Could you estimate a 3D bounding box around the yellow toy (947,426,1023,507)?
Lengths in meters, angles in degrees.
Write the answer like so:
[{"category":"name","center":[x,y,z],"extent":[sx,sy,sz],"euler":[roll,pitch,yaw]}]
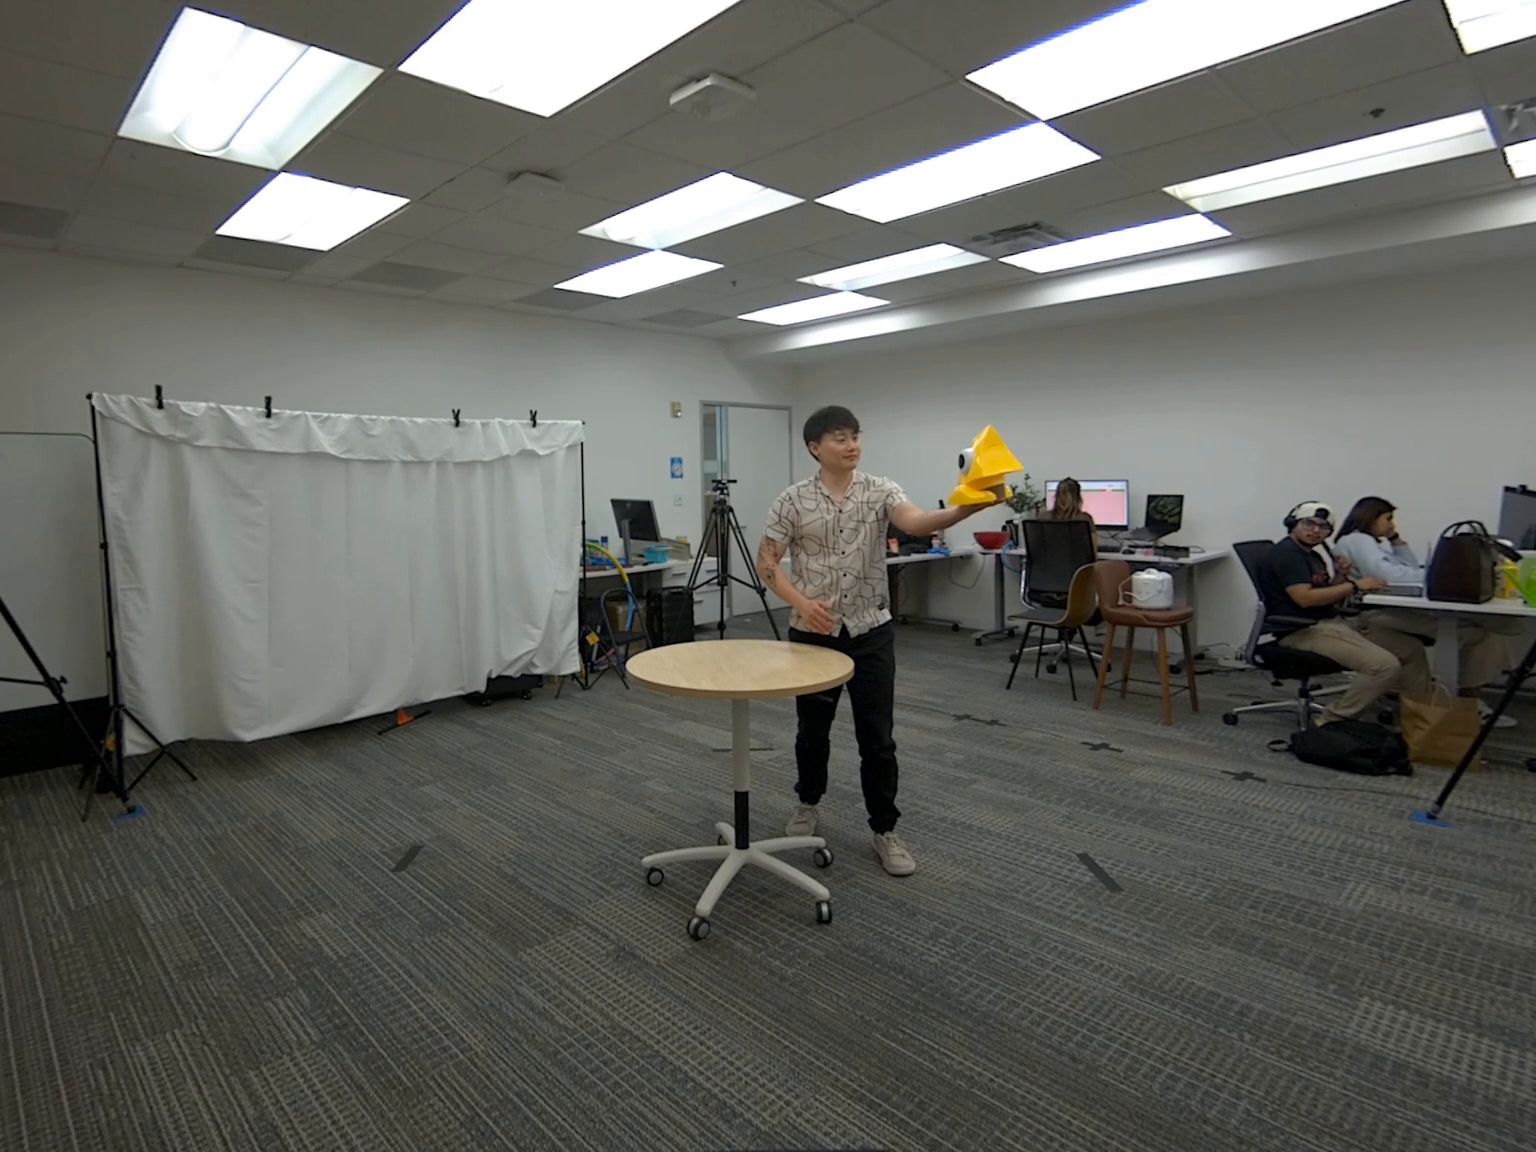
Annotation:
[{"category":"yellow toy","center":[0.662,-0.351,2.673],"extent":[0.200,0.229,0.198],"euler":[-13,7,-37]}]
